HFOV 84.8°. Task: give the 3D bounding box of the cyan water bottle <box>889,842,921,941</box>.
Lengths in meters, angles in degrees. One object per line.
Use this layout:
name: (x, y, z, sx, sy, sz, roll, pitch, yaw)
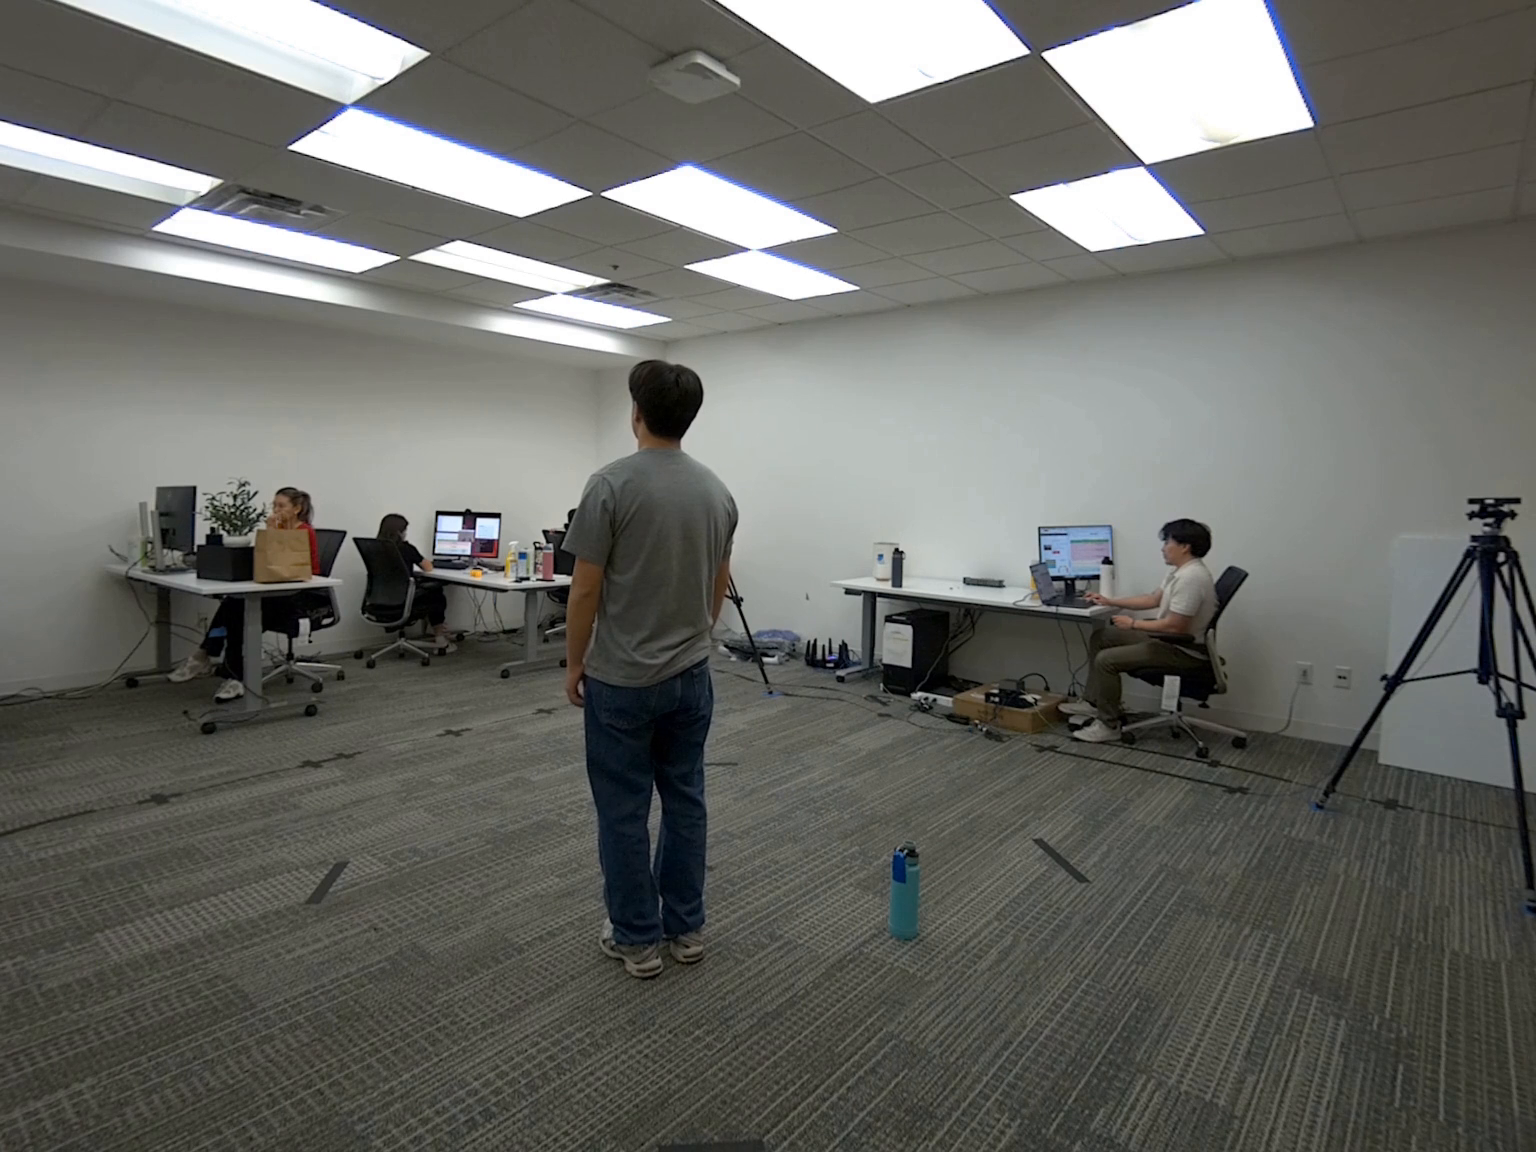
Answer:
cyan water bottle: (0.424, 0.983, 2.685, 0.092, 0.282, 0.093, -2, 3, -2)
